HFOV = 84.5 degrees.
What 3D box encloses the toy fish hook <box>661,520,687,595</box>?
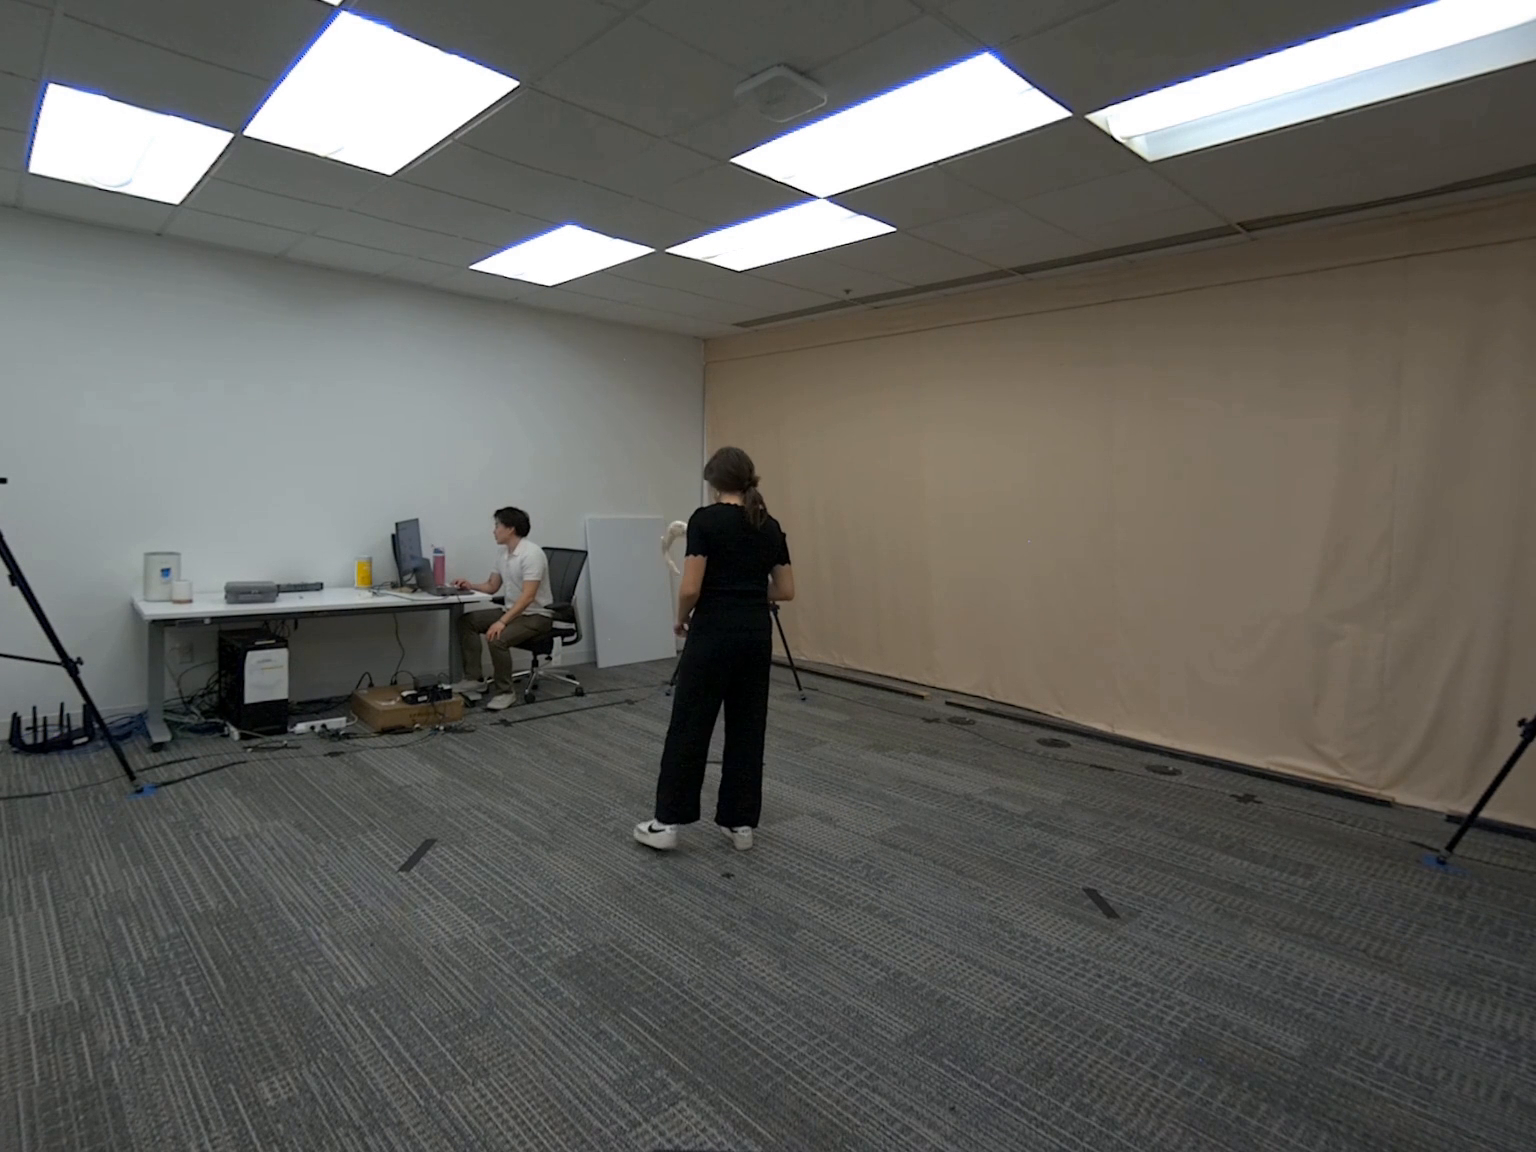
[{"bbox_3d":[-0.323,-0.014,3.669,0.047,0.223,0.520,-6,50,-44],"label":"toy fish hook"}]
